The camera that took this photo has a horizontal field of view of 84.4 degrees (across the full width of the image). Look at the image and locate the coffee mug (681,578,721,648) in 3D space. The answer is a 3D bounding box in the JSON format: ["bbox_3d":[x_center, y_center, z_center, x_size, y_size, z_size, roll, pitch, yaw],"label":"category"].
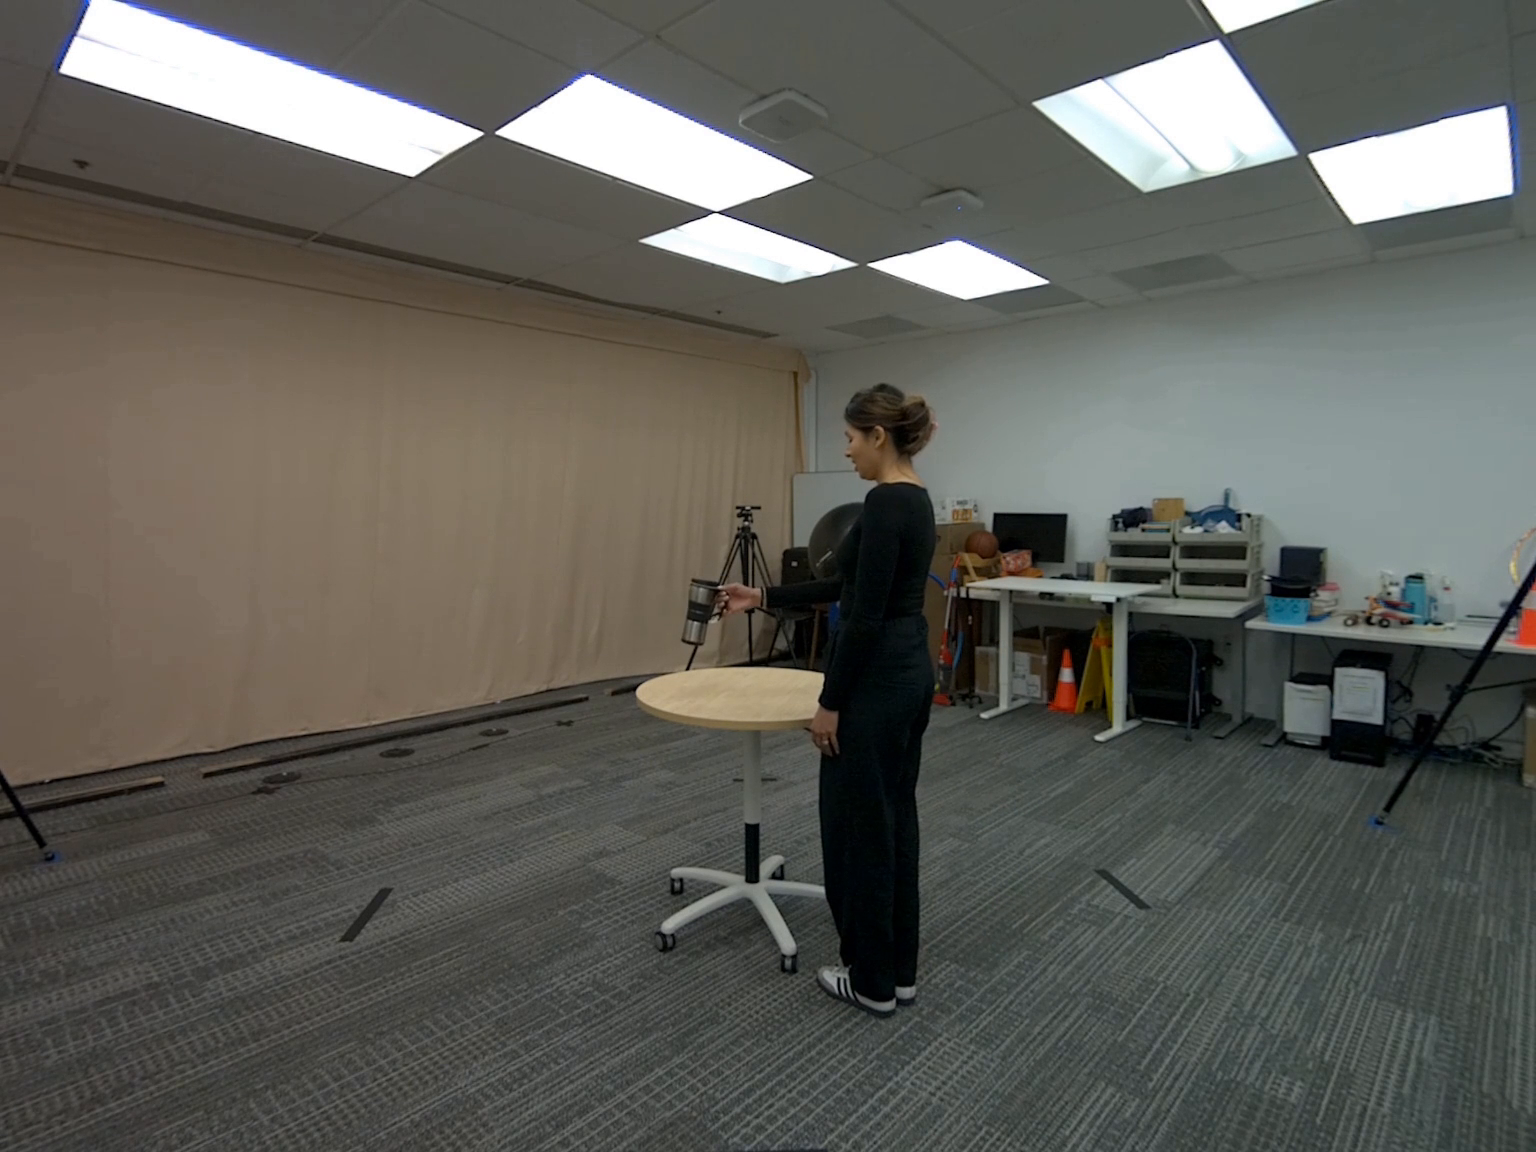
[{"bbox_3d":[-0.192,0.117,2.577,0.085,0.203,0.126,9,3,-38],"label":"coffee mug"}]
